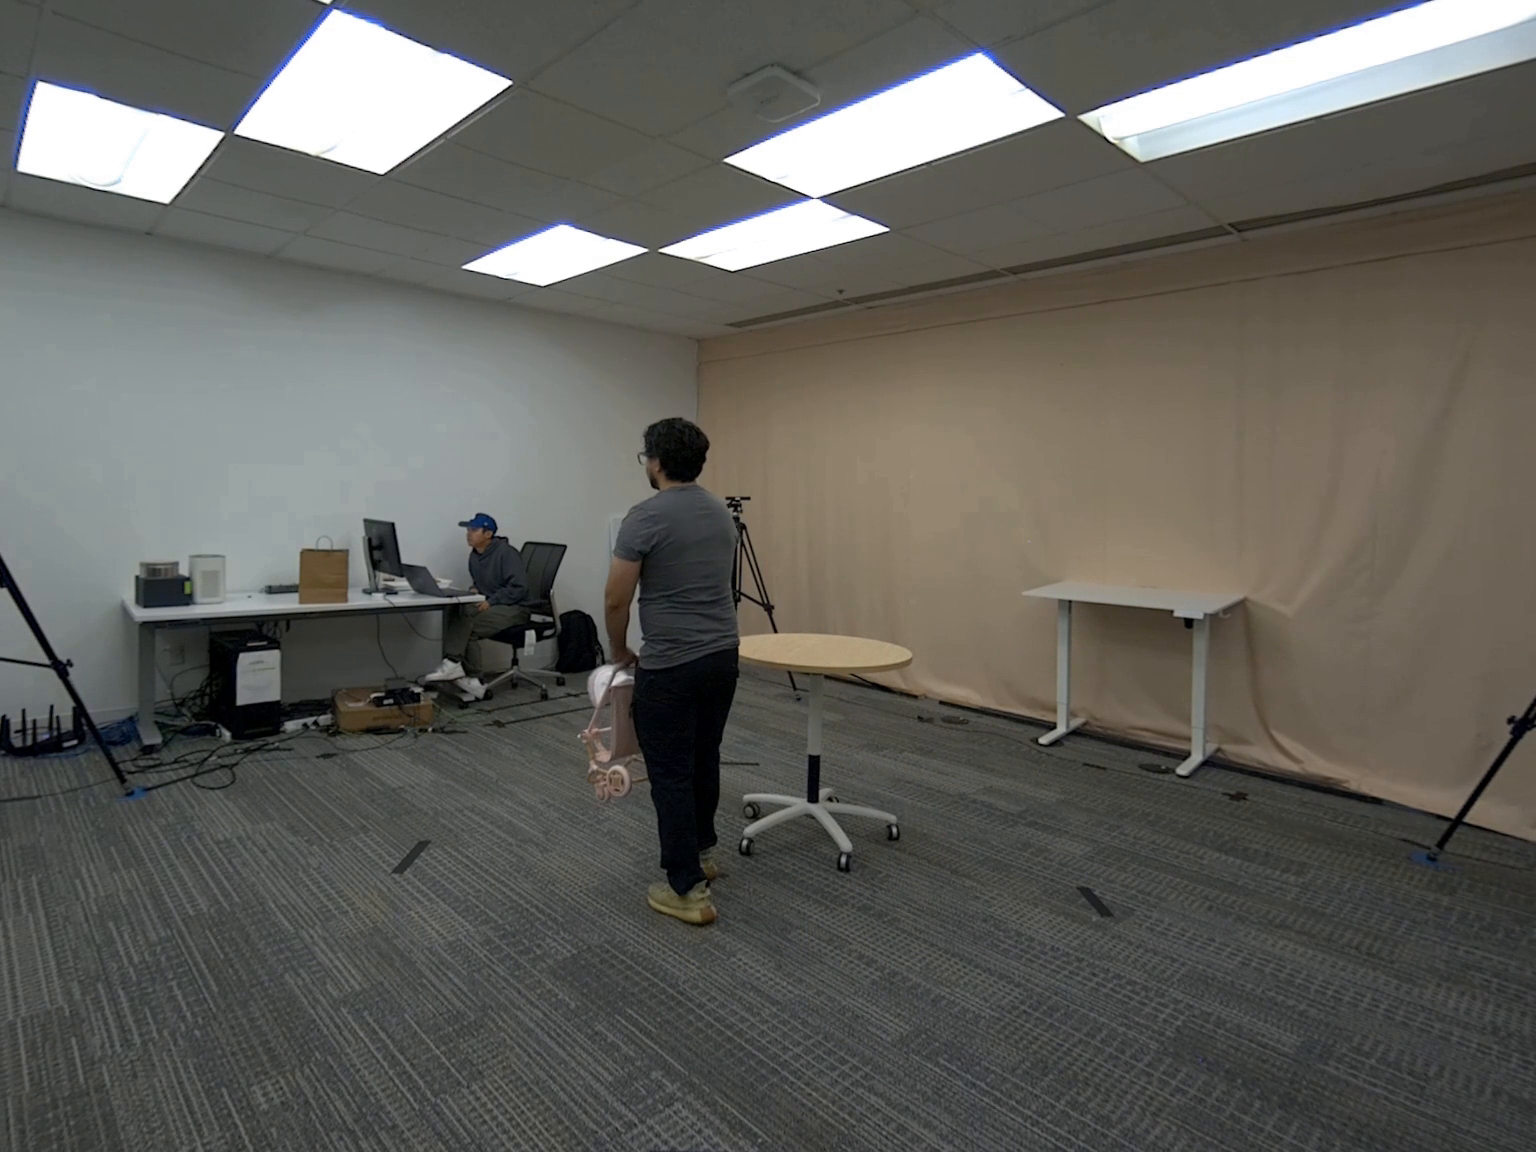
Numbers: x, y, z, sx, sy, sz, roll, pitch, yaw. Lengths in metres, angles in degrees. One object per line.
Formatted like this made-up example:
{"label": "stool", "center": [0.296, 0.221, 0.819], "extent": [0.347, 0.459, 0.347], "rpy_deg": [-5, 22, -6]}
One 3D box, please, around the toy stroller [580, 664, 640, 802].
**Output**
{"label": "toy stroller", "center": [-0.544, 0.564, 3.069], "extent": [0.348, 0.537, 0.275], "rpy_deg": [-11, -6, 43]}
